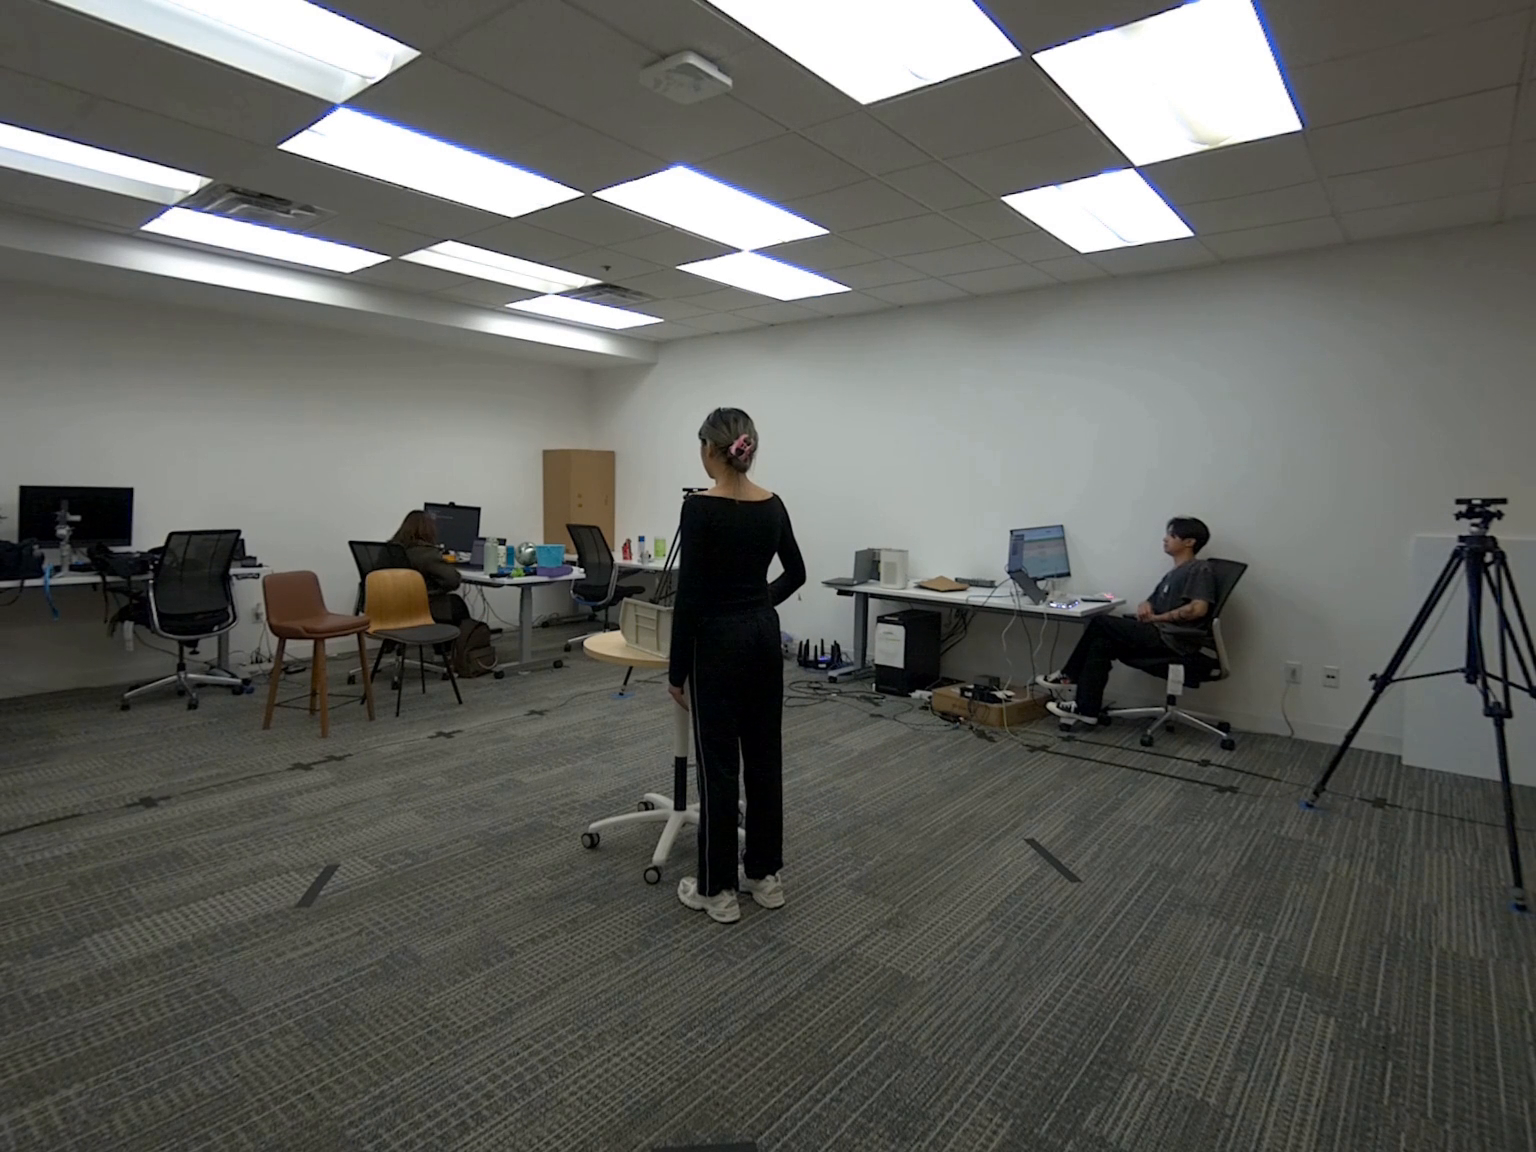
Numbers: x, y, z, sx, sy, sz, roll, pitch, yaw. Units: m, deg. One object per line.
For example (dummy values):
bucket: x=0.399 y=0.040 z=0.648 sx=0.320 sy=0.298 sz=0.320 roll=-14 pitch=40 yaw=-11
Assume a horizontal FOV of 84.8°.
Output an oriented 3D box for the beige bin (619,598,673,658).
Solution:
beige bin: x=-0.302 y=0.173 z=3.195 sx=0.410 sy=0.188 sz=0.390 roll=-1 pitch=6 yaw=-34
